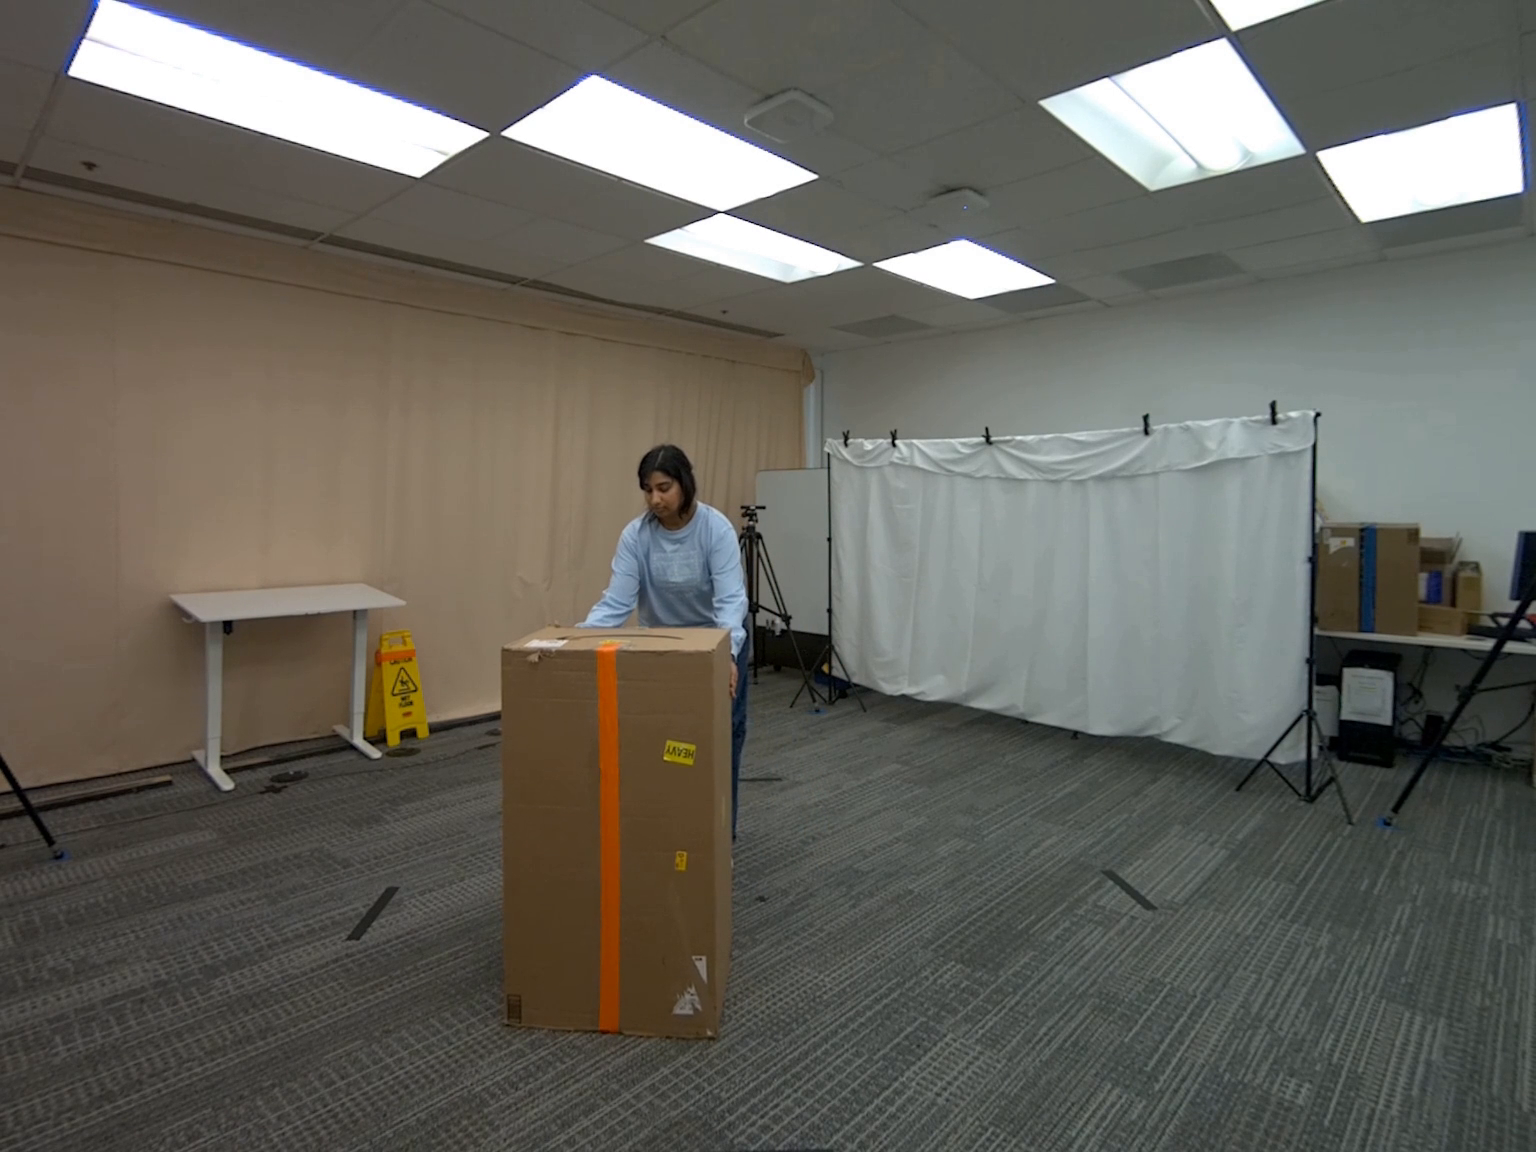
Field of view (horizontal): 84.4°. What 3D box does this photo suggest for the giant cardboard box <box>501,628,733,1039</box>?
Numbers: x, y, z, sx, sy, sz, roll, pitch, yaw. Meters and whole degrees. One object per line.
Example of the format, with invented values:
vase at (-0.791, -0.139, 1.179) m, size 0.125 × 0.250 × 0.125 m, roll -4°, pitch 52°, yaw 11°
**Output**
giant cardboard box at (-0.410, 0.680, 2.413) m, size 0.582 × 1.024 × 0.424 m, roll 0°, pitch 3°, yaw 6°
